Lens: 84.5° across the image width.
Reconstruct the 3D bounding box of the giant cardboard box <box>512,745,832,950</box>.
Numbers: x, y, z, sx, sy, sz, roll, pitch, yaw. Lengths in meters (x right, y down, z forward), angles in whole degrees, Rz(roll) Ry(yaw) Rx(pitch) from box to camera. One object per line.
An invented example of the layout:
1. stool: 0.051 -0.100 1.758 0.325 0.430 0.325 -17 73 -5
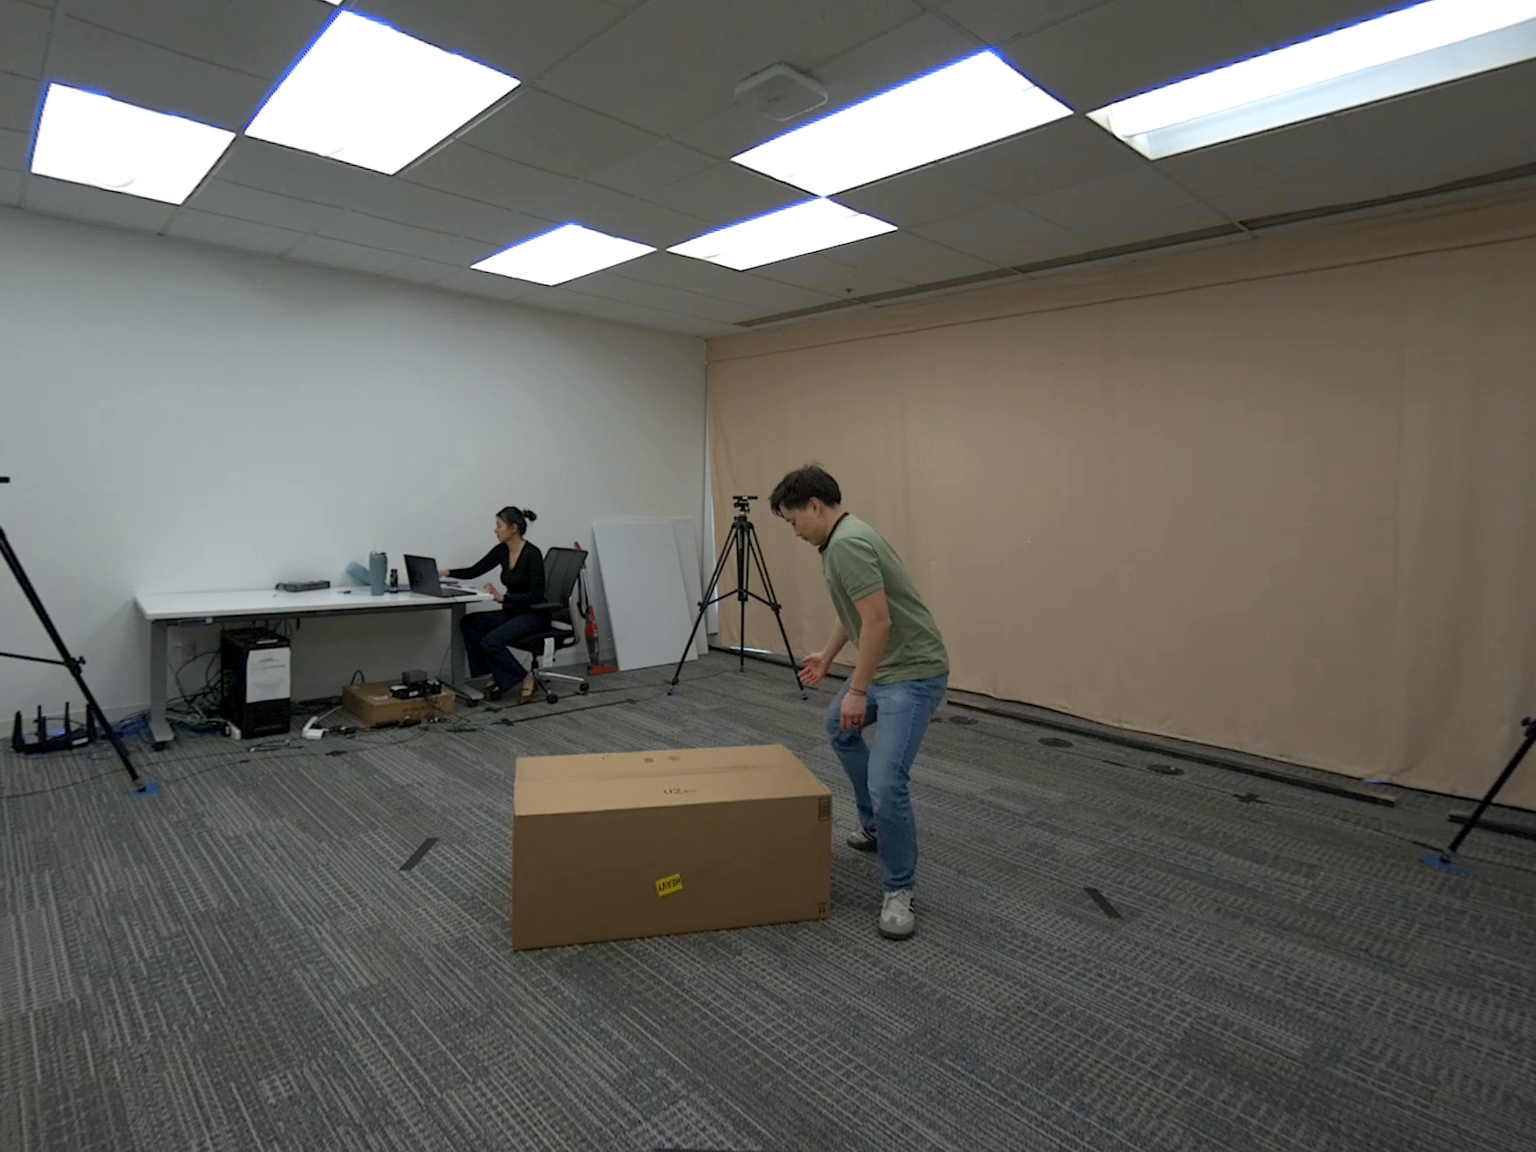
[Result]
1. giant cardboard box: -0.363 0.902 2.929 1.014 0.425 0.586 0 5 -15
